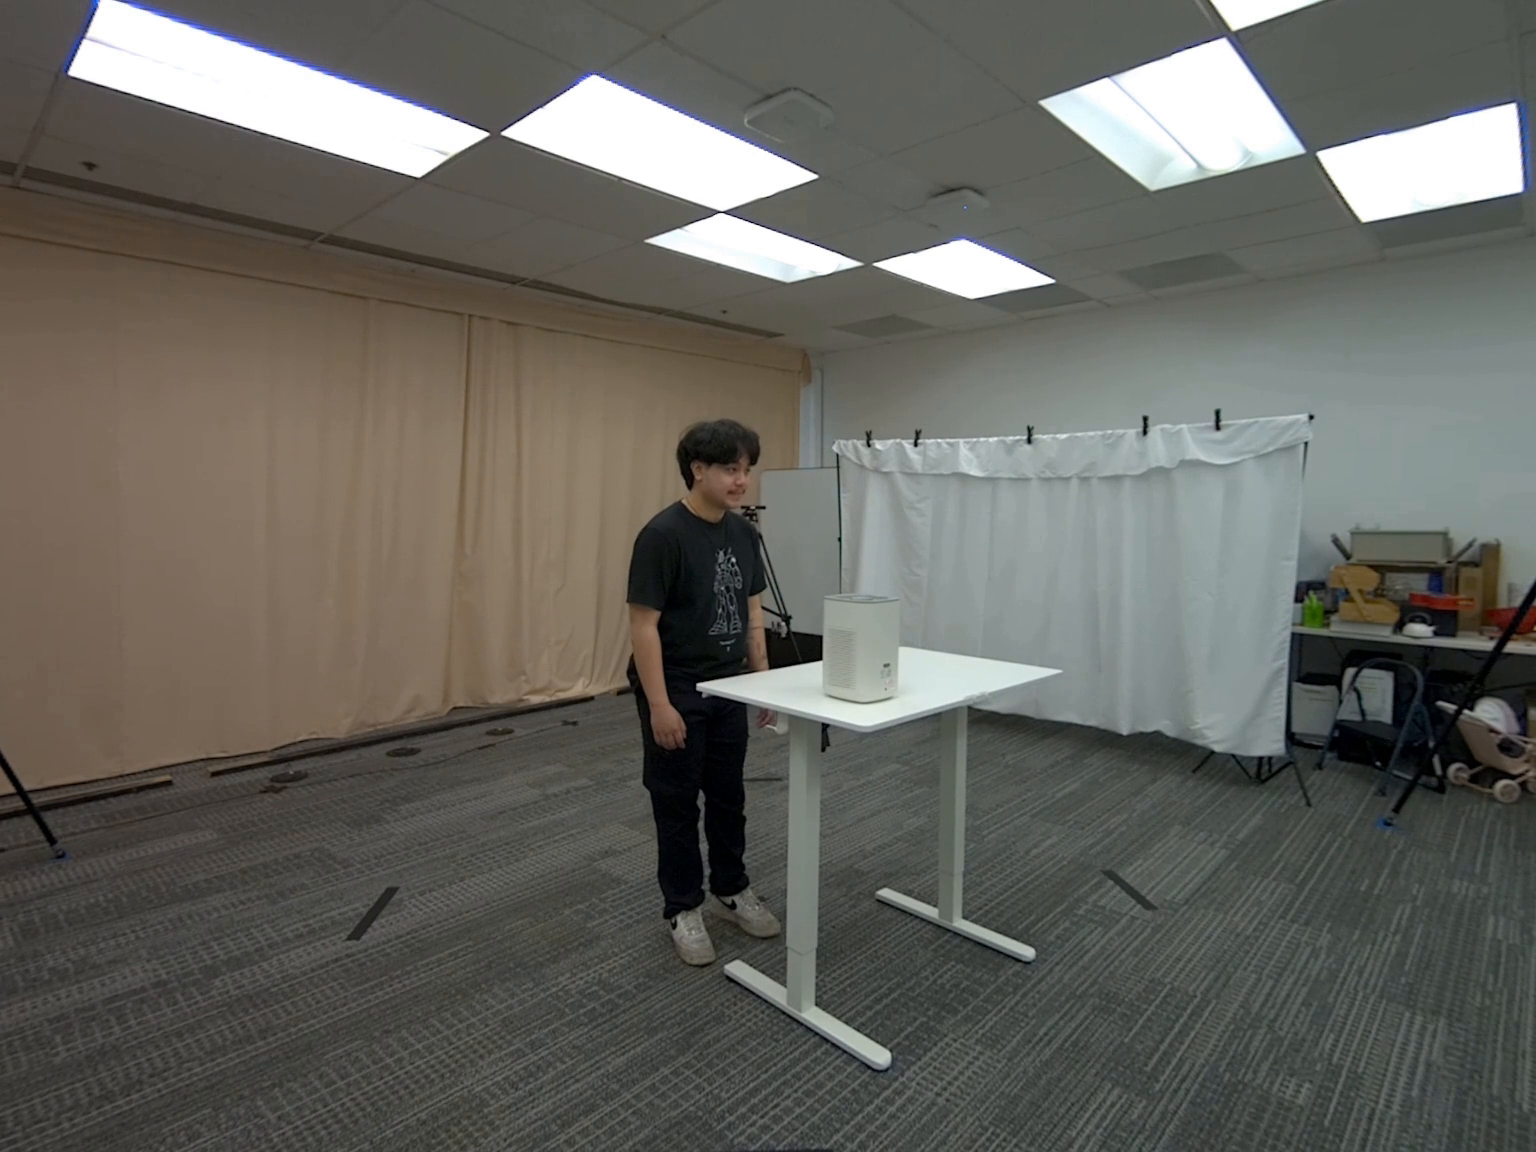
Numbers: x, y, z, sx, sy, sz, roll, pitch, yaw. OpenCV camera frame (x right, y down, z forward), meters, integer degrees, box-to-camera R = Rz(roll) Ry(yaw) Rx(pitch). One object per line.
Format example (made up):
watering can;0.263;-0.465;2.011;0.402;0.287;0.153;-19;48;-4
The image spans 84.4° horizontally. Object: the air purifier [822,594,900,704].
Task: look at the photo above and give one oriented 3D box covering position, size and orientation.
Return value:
air purifier;0.252;0.188;2.225;0.166;0.265;0.177;-2;6;-43
